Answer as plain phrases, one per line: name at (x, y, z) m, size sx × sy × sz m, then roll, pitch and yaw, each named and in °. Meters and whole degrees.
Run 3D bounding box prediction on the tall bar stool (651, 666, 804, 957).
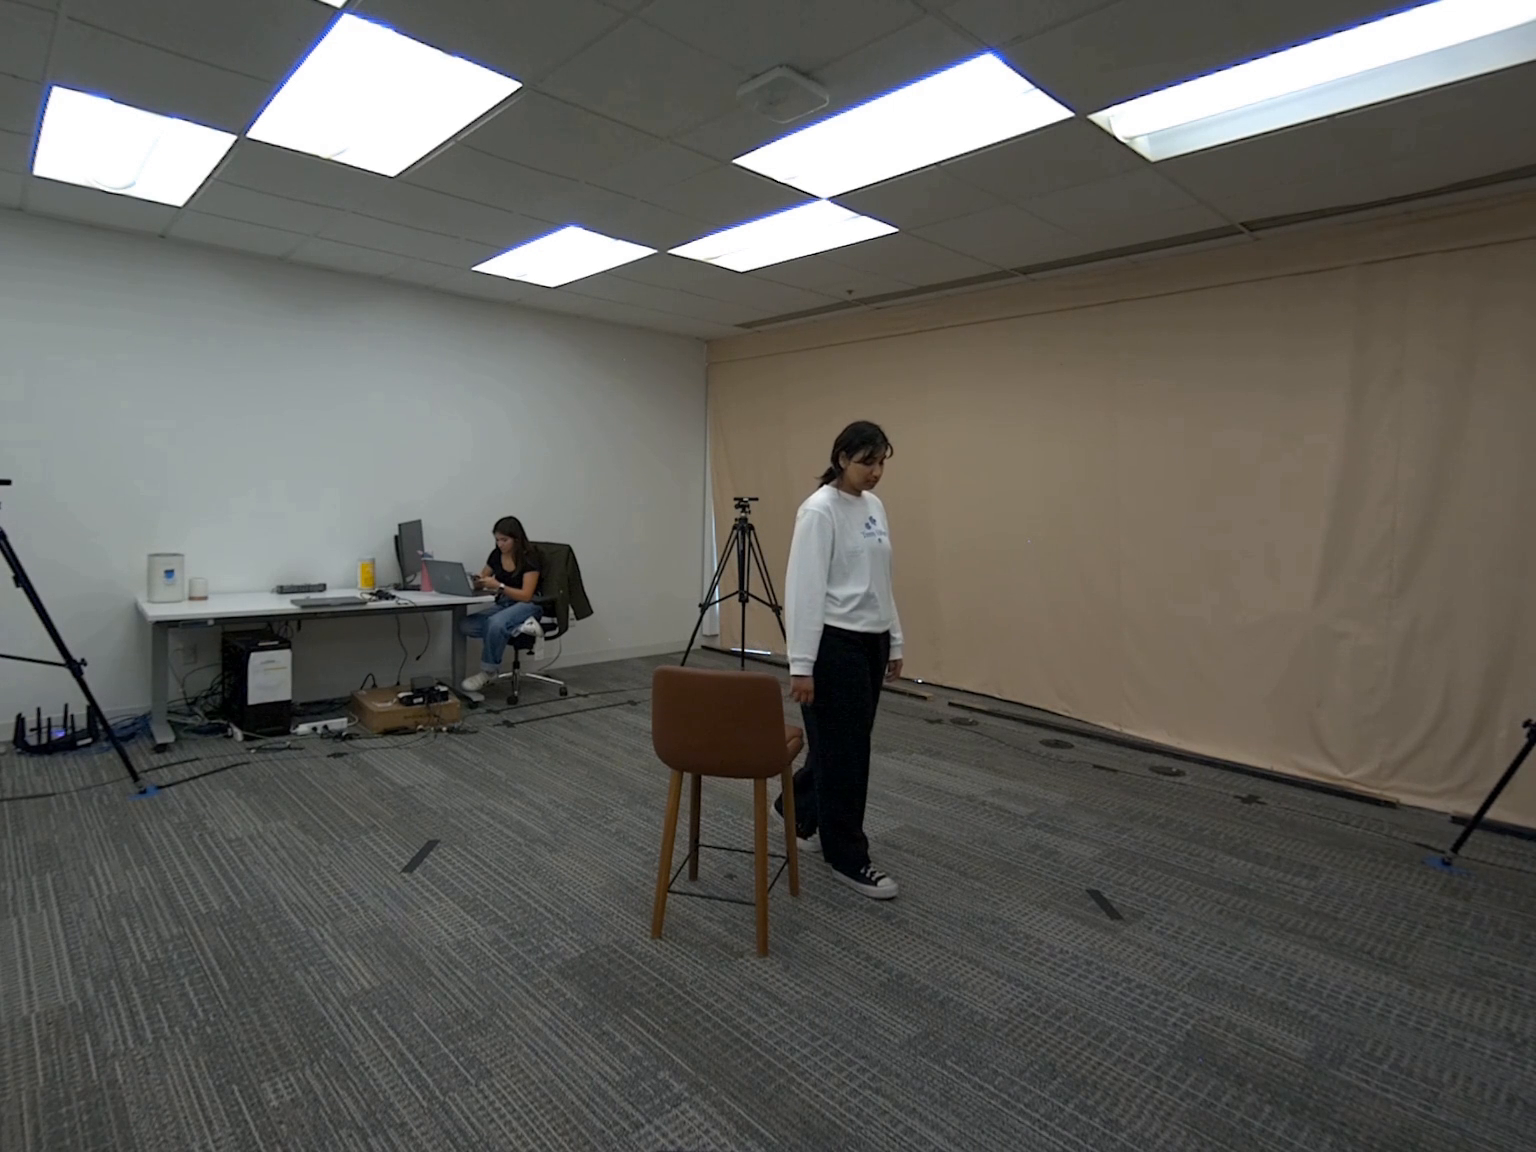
tall bar stool at (-0.136, 0.703, 2.785) m, size 0.462 × 0.886 × 0.463 m, roll 2°, pitch 5°, yaw 15°
